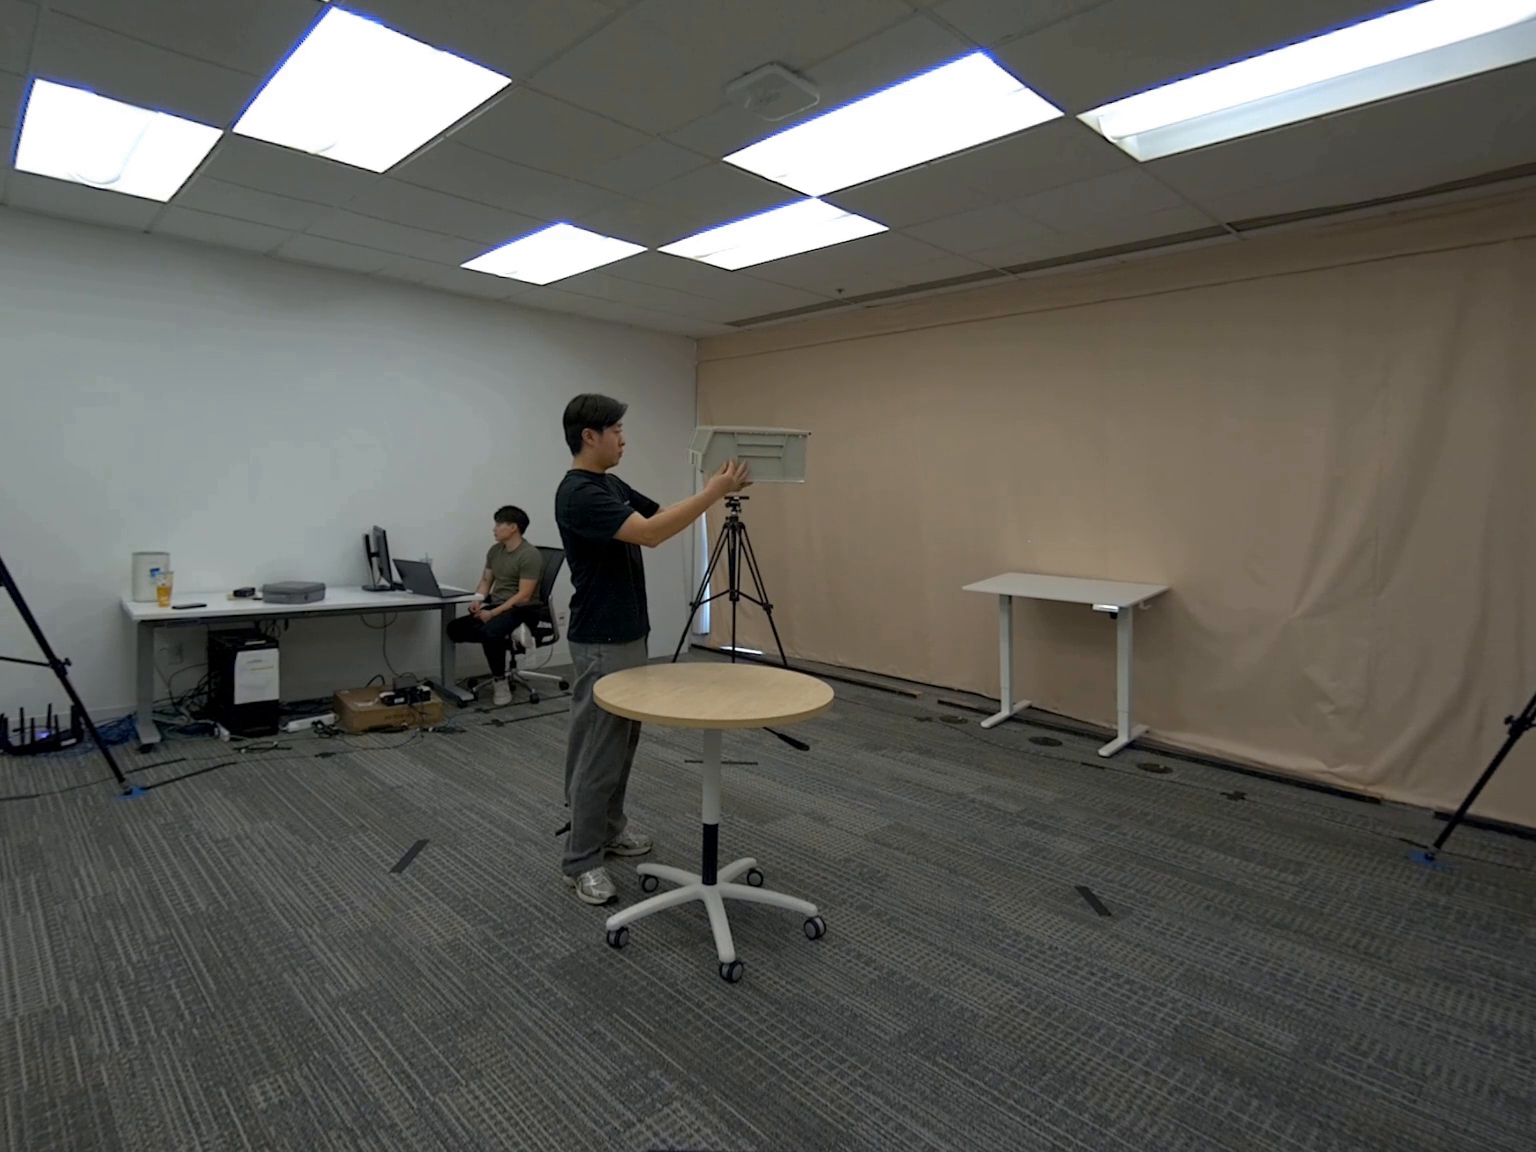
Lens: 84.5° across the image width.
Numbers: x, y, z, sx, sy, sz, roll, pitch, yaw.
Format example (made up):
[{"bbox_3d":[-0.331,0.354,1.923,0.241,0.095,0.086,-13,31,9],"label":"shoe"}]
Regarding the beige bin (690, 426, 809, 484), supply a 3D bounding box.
[{"bbox_3d":[-0.095,-0.443,3.066,0.374,0.188,0.429,2,10,-11],"label":"beige bin"}]
